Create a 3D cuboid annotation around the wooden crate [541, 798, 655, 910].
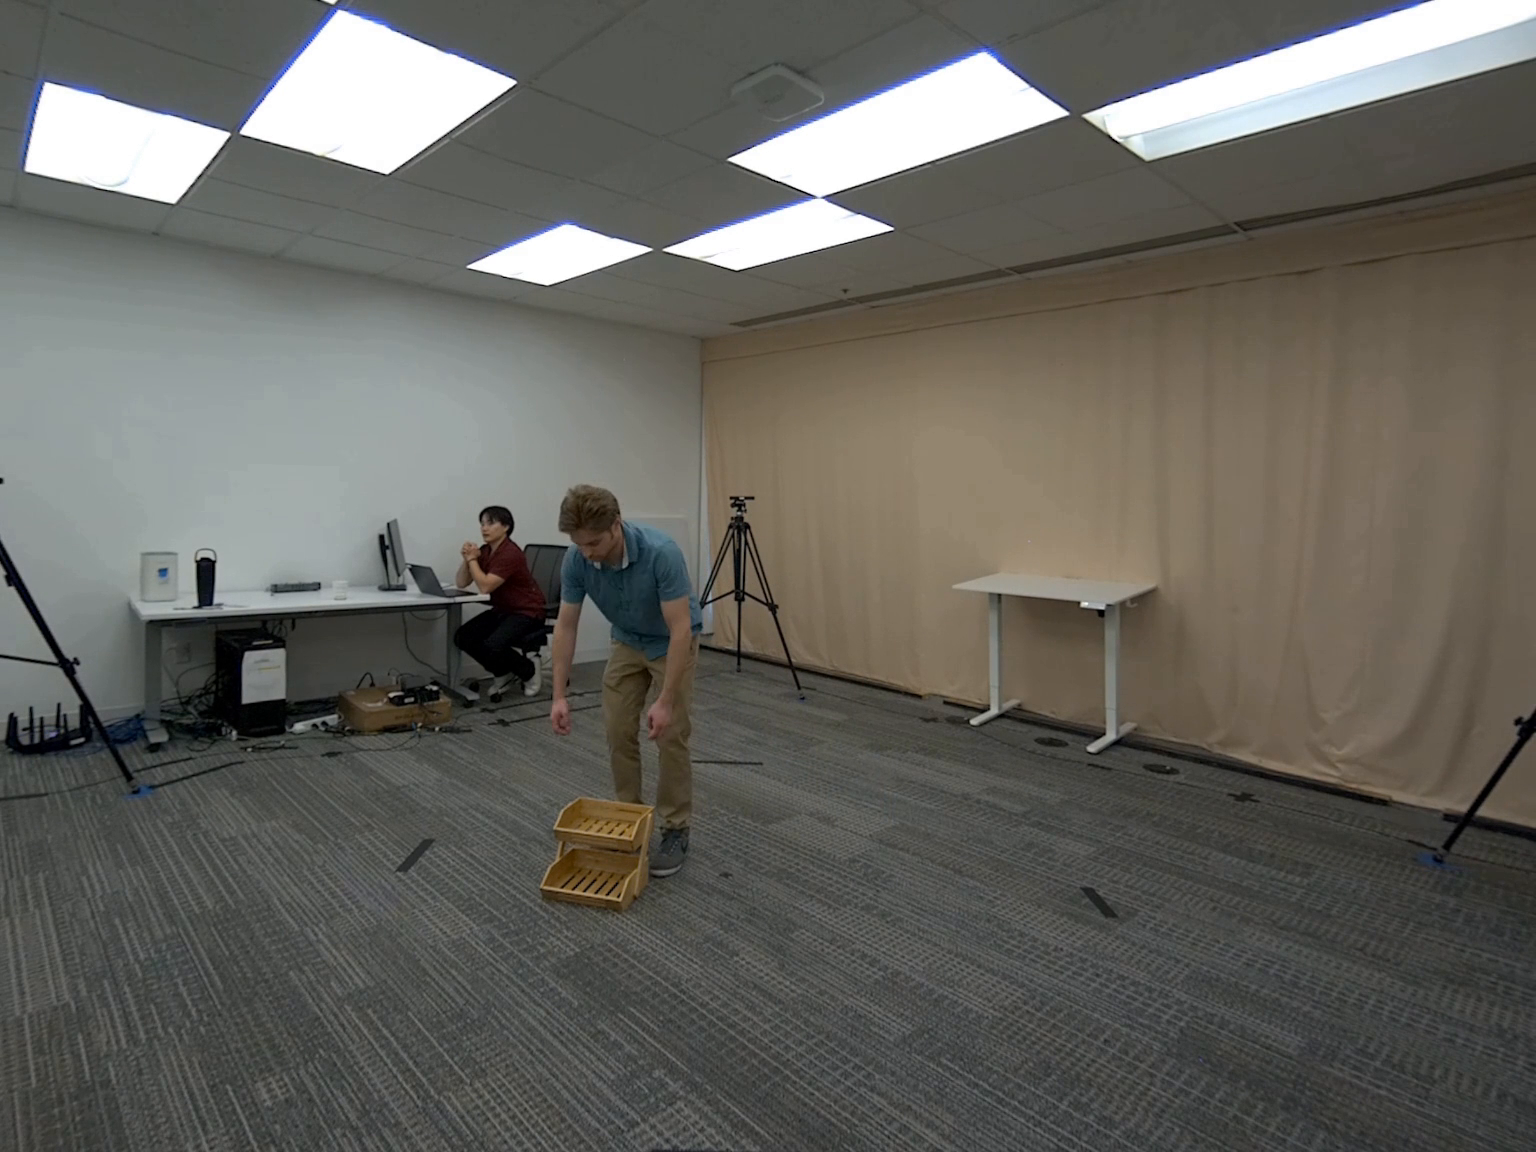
[{"bbox_3d":[-0.609,0.976,2.967,0.328,0.273,0.299,3,4,15],"label":"wooden crate"}]
